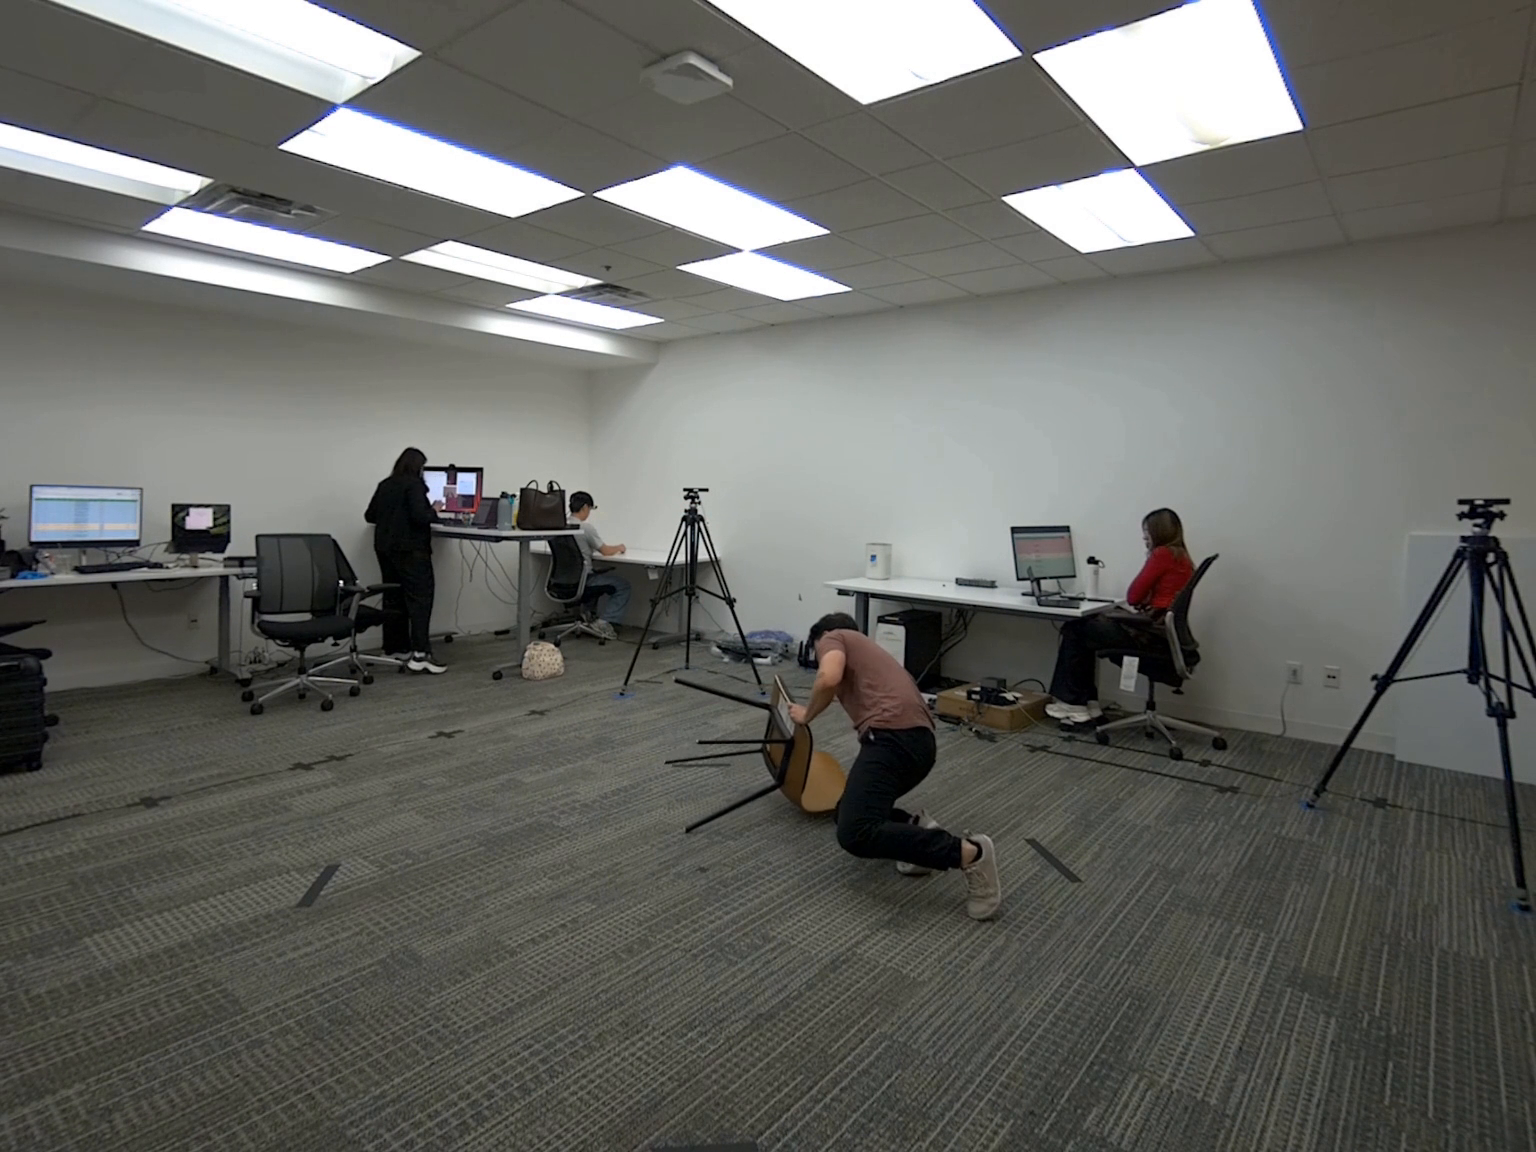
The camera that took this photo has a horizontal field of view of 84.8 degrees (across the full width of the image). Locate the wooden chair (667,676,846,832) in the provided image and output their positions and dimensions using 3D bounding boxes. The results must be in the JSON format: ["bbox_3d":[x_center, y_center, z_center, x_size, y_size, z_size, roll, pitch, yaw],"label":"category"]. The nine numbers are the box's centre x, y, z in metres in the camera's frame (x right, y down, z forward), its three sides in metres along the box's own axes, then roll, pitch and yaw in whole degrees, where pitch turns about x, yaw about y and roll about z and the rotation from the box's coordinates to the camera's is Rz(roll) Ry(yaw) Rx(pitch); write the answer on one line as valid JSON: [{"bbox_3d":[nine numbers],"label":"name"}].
[{"bbox_3d":[0.022,0.728,3.660,0.860,0.515,0.495,4,24,-18],"label":"wooden chair"}]
